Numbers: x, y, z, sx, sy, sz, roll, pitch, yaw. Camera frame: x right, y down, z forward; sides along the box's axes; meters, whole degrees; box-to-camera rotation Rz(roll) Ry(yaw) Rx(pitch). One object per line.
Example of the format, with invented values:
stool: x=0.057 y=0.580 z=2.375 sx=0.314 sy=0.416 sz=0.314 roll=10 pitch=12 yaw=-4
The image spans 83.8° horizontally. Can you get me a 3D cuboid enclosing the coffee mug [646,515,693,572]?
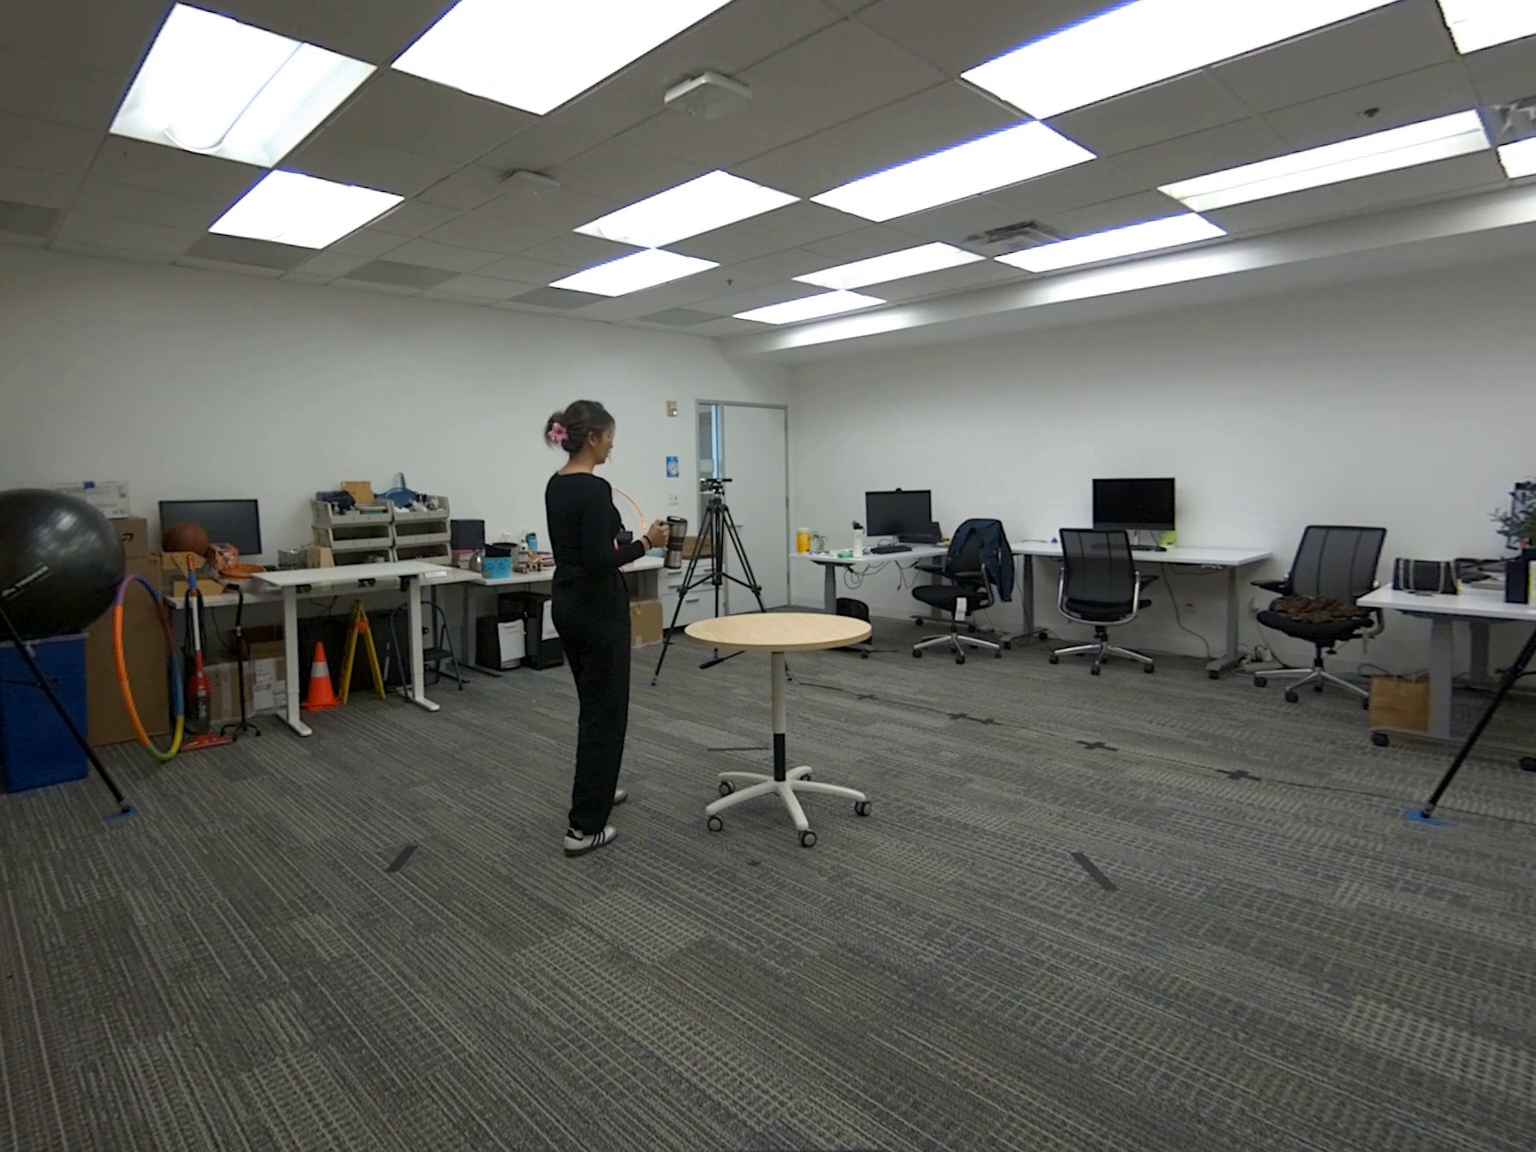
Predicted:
coffee mug: x=-0.391 y=-0.130 z=3.383 sx=0.091 sy=0.202 sz=0.119 roll=17 pitch=10 yaw=33
